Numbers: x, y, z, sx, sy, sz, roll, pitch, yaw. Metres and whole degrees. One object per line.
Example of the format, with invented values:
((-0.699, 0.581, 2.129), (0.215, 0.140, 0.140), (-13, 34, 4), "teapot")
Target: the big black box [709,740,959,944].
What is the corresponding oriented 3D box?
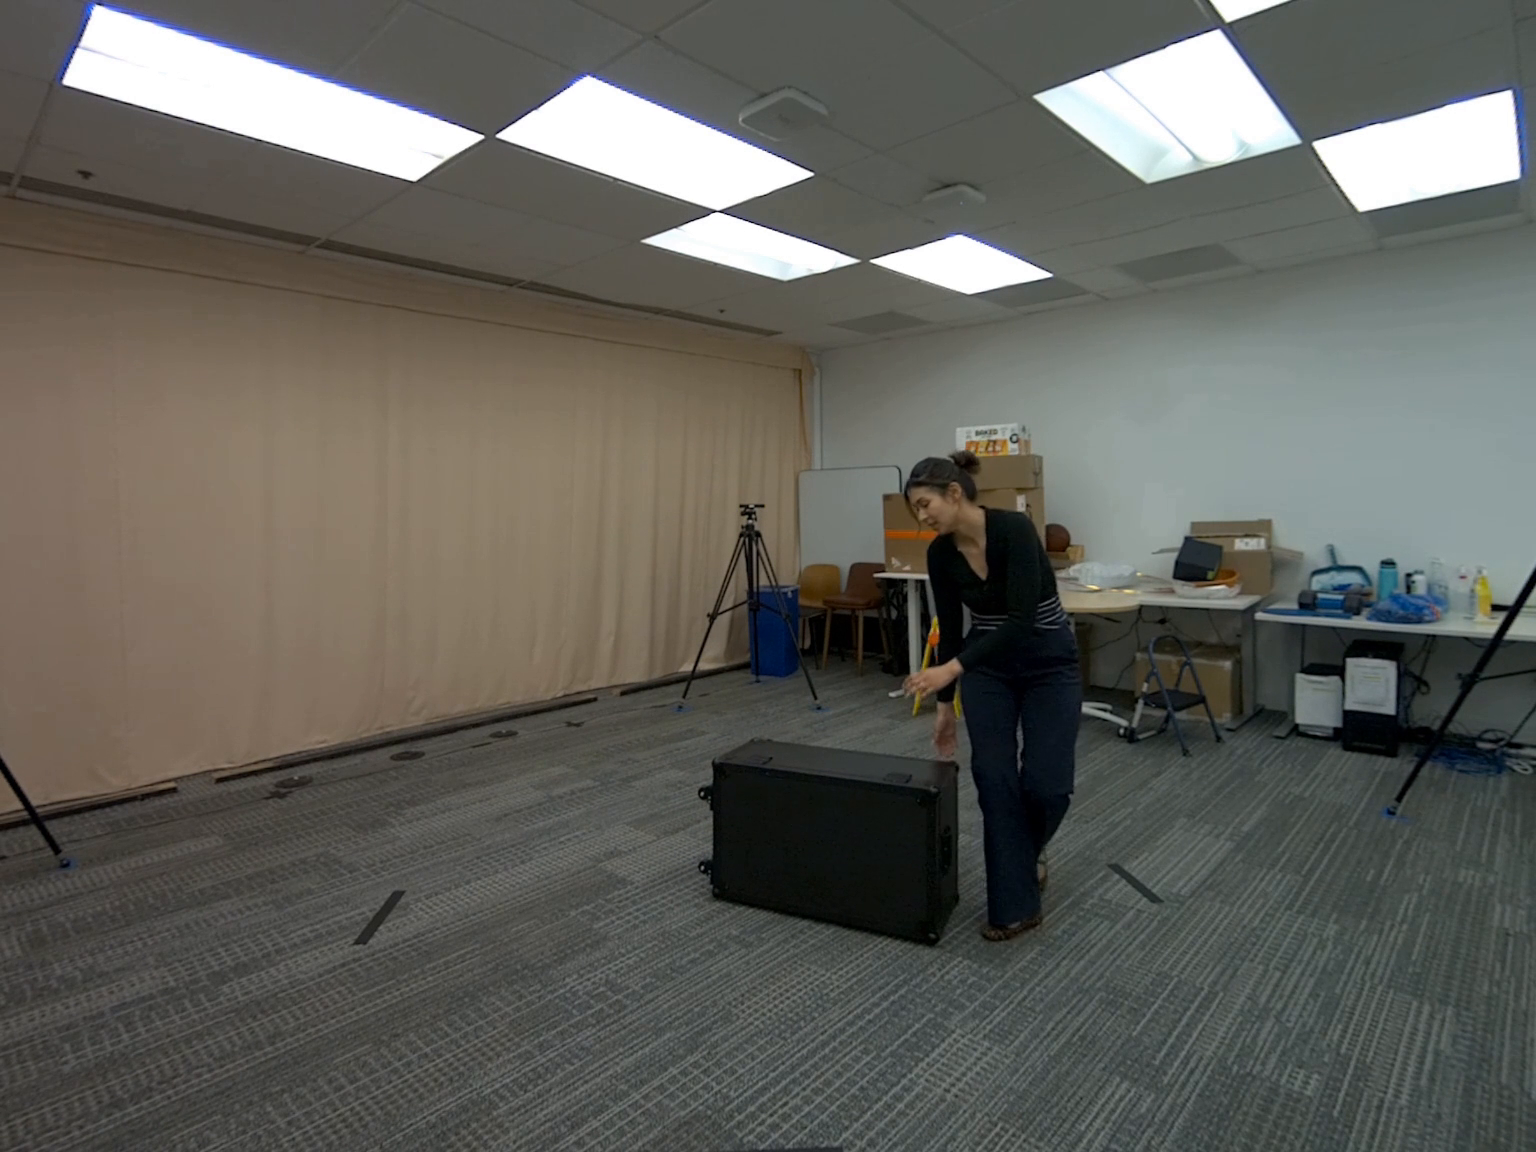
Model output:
((0.212, 0.882, 2.967), (0.883, 0.520, 0.387), (1, 2, 25), "big black box")
